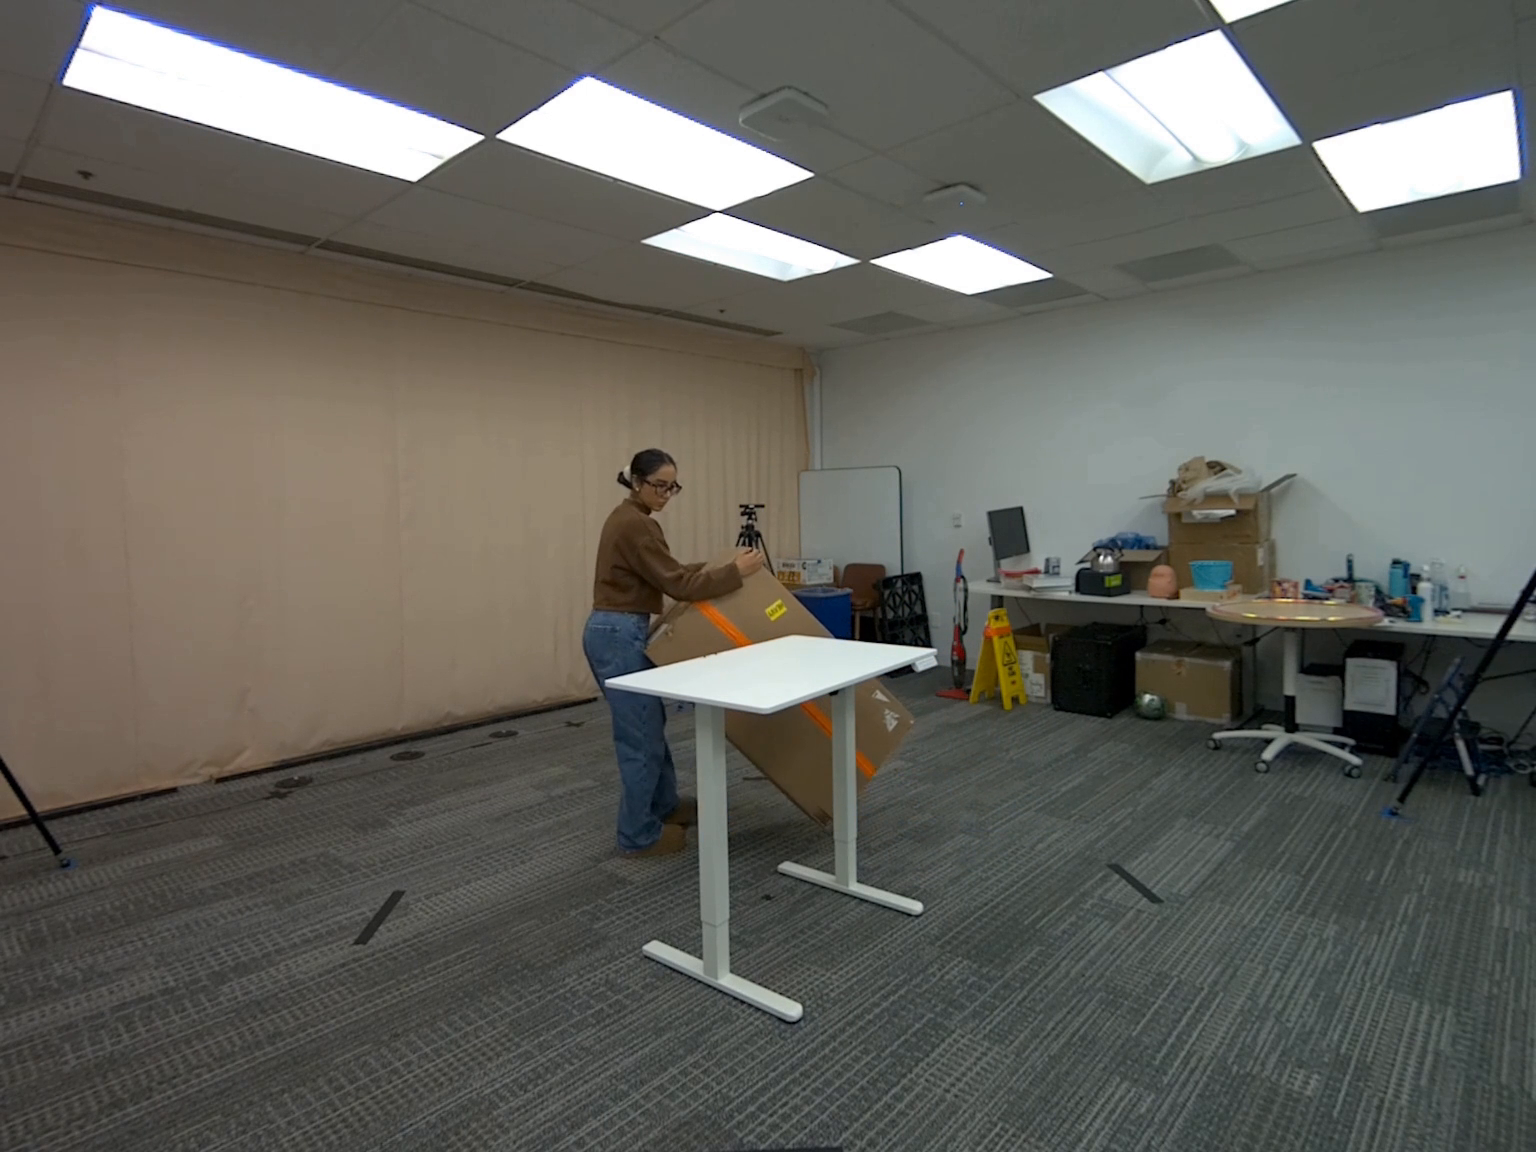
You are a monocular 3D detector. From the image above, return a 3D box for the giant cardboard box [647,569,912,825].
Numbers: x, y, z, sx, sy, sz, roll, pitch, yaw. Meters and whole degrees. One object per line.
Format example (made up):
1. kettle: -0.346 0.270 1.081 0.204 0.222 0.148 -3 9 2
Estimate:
1. giant cardboard box: 0.026 0.454 3.539 0.576 1.016 0.431 -46 8 -9
